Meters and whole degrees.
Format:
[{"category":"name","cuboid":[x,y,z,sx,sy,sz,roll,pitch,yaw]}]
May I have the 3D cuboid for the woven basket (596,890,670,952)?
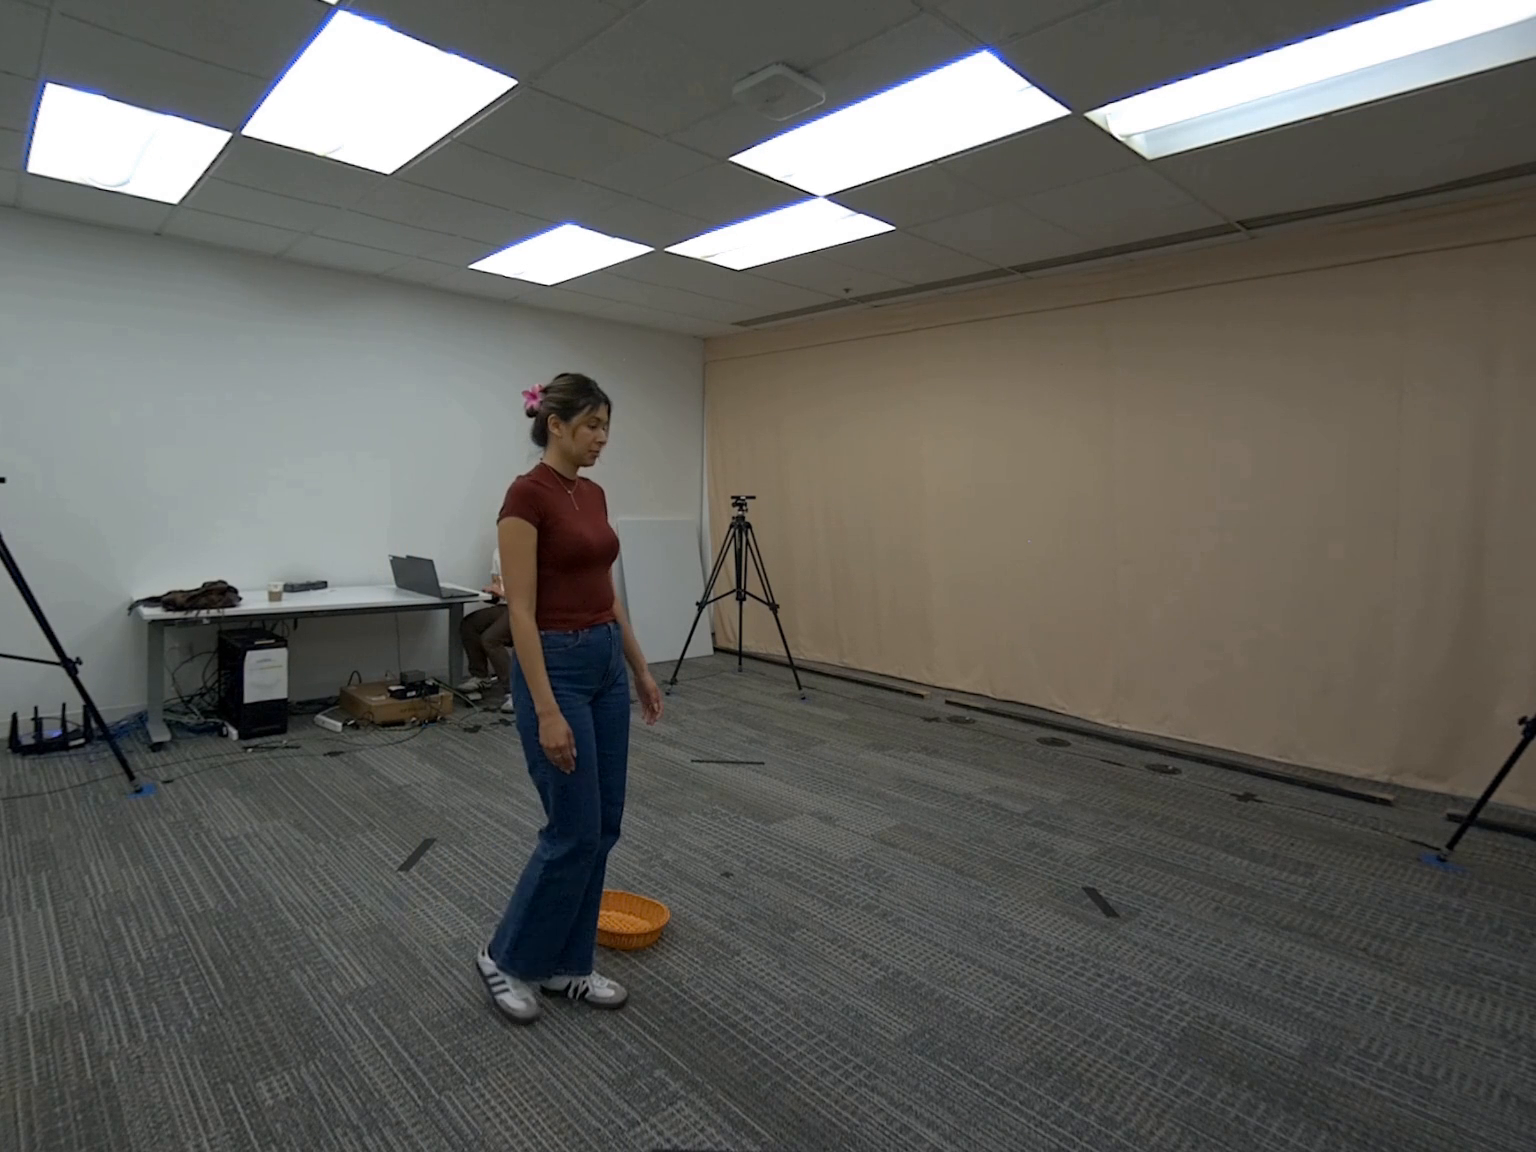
[{"category":"woven basket","cuboid":[-0.486,1.096,2.681,0.358,0.073,0.247,4,4,29]}]
